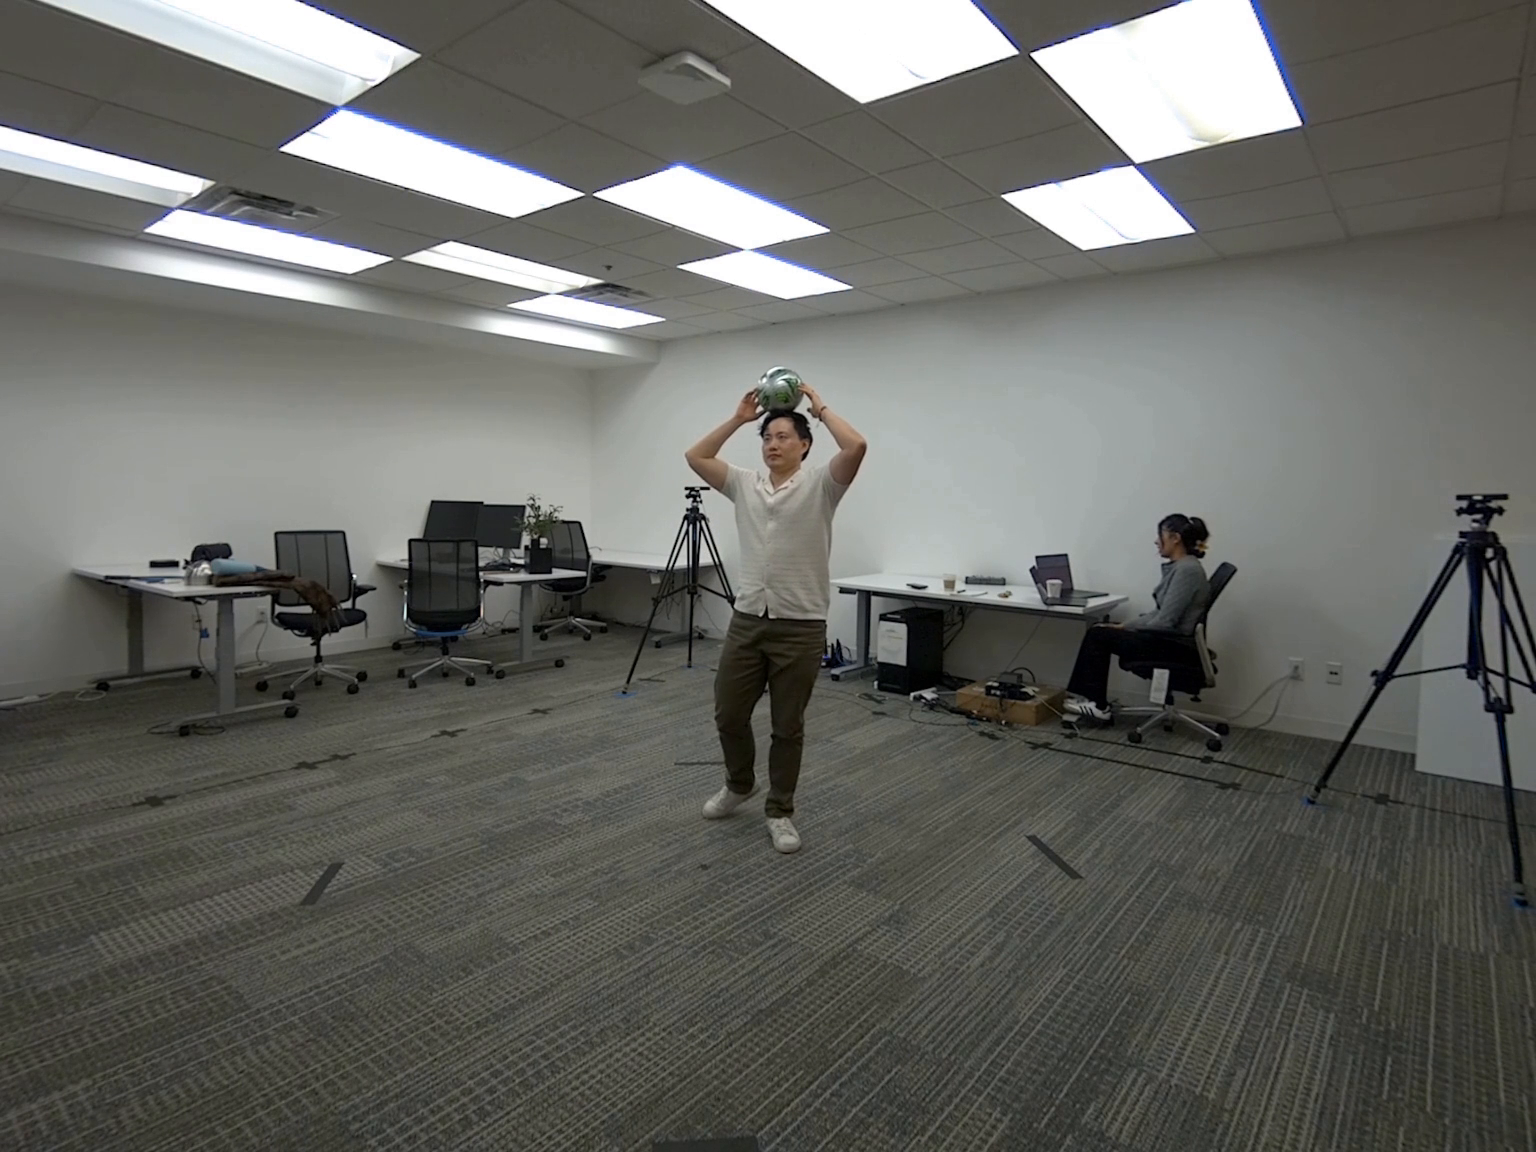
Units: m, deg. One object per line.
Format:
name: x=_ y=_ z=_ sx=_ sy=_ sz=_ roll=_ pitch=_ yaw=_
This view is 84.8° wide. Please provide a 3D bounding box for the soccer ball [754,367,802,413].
soccer ball: x=0.040 y=-0.732 z=3.368 sx=0.187 sy=0.187 sz=0.188 roll=1 pitch=4 yaw=-2
